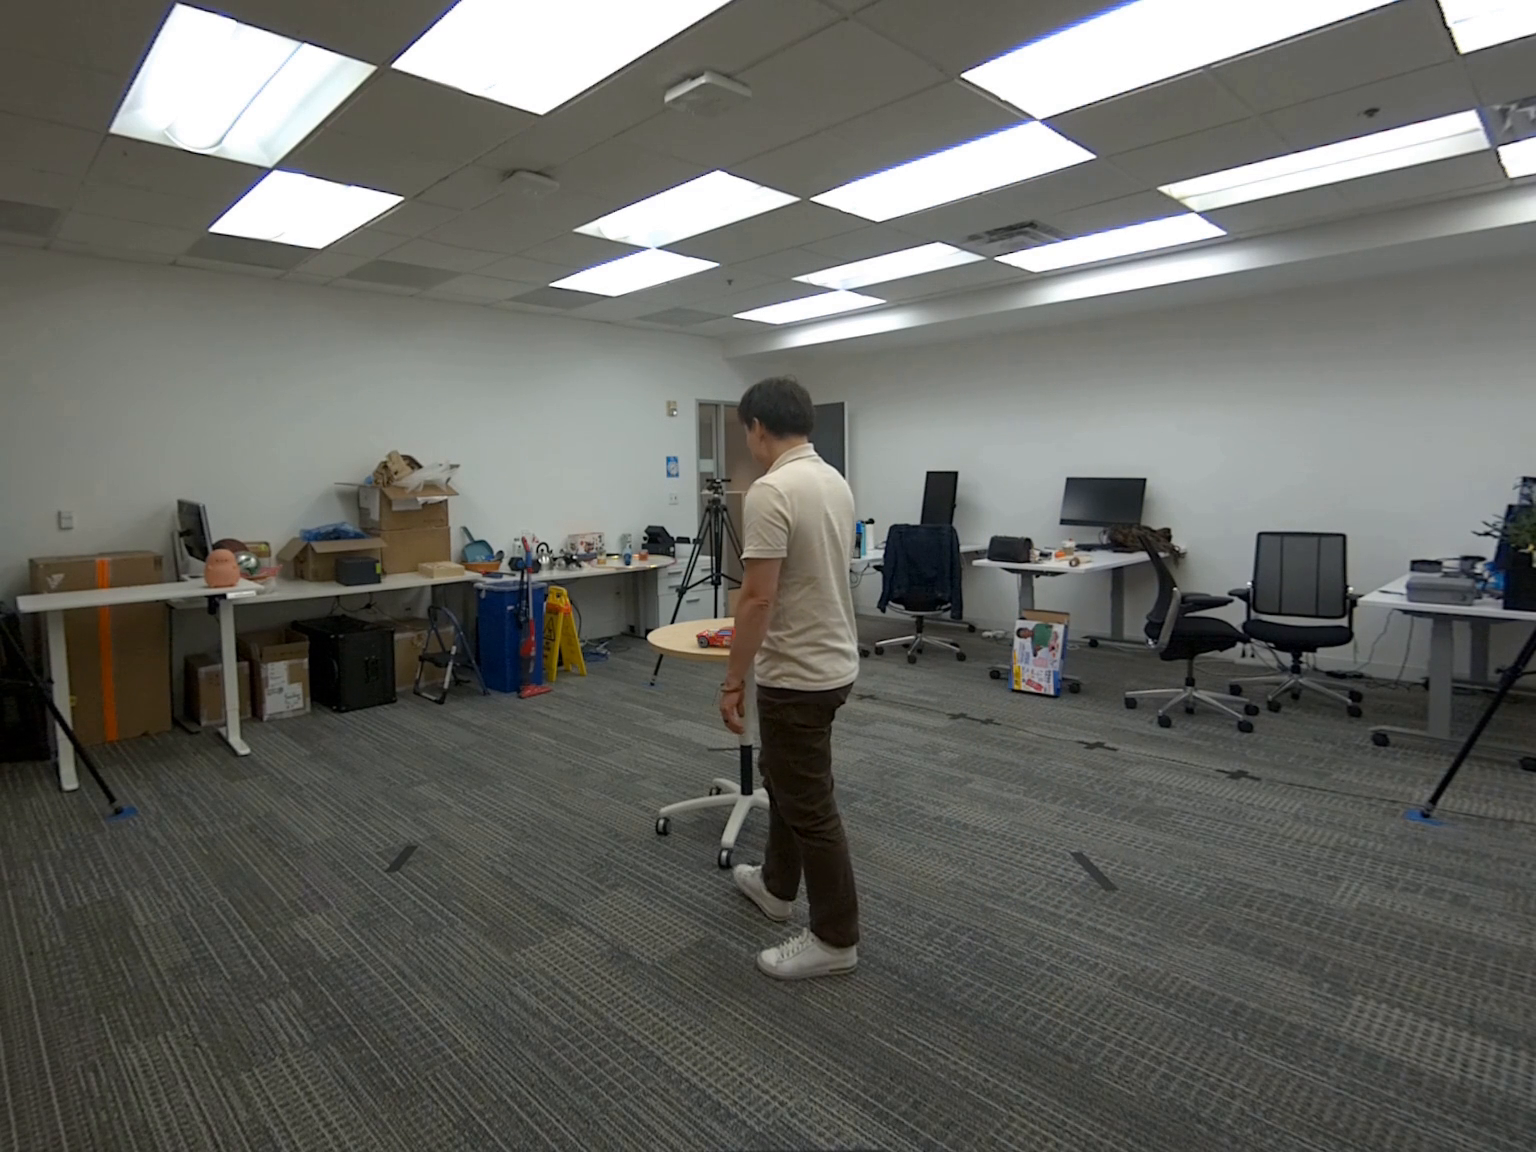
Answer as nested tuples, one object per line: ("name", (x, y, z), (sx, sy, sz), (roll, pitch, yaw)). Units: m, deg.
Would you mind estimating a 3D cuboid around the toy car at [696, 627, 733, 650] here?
("toy car", (-0.128, 0.229, 3.132), (0.259, 0.083, 0.128), (-10, 3, 23))
